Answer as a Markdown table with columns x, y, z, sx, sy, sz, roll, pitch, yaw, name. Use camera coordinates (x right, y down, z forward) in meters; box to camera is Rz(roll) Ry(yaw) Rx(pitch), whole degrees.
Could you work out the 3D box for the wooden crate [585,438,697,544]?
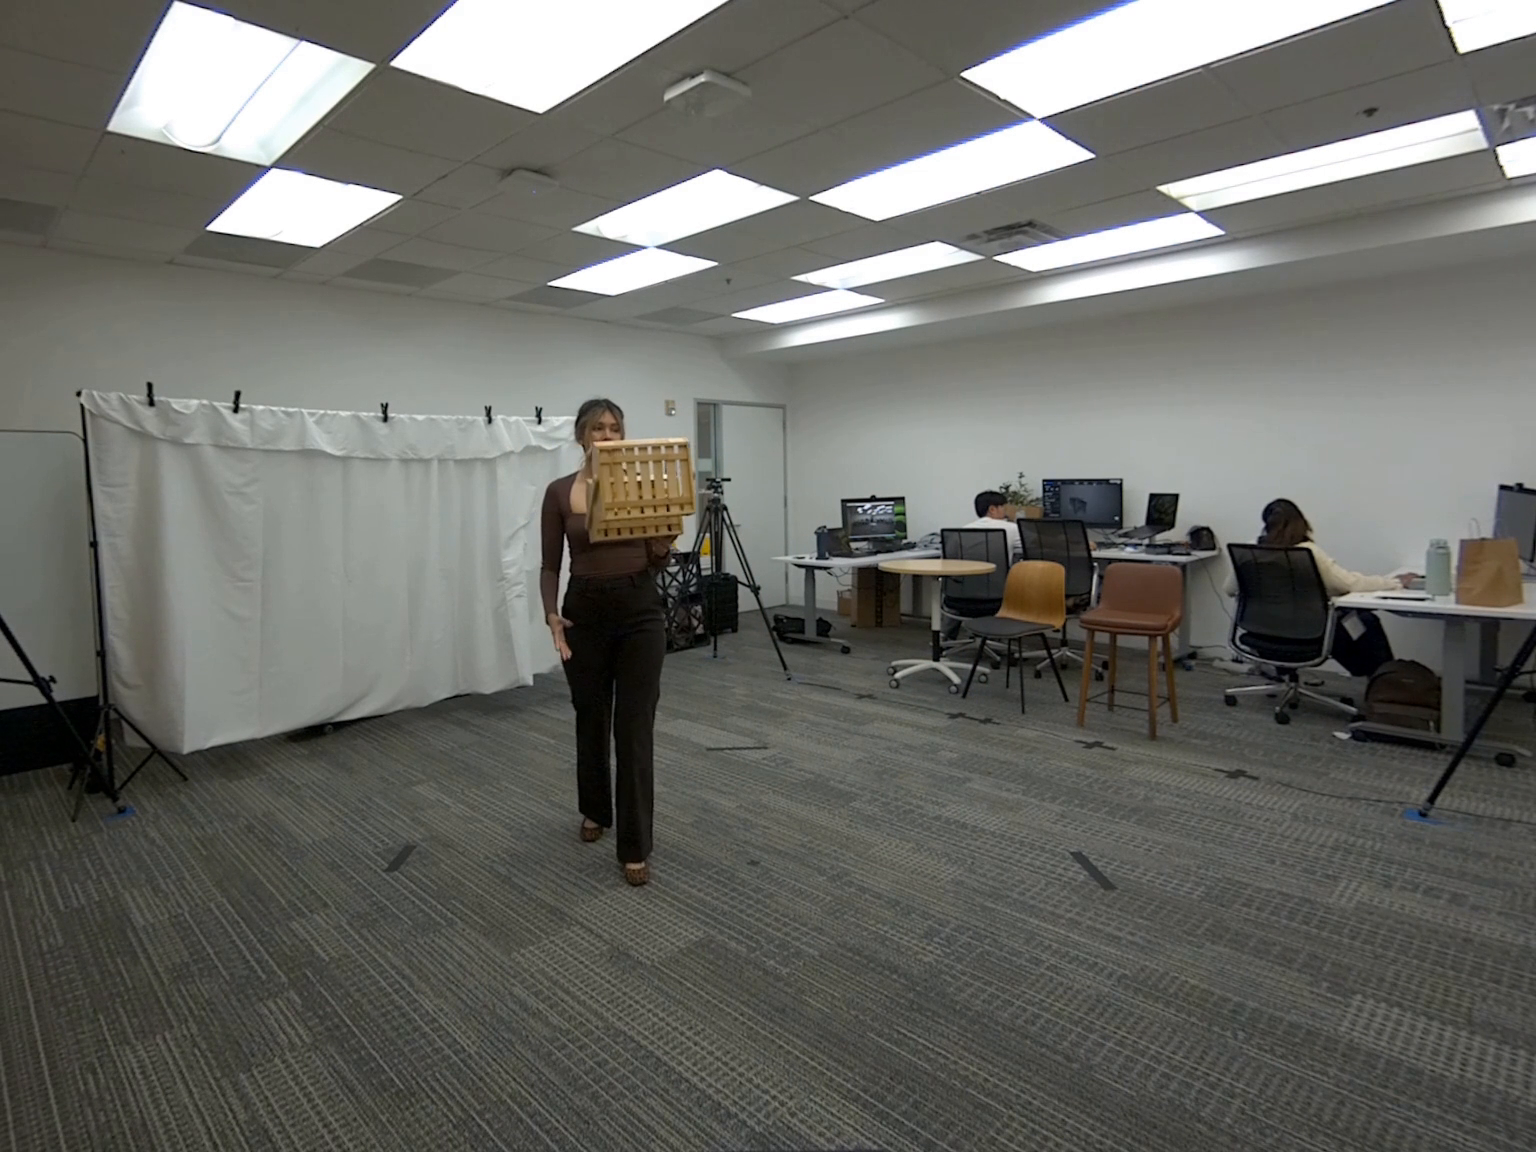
| x | y | z | sx | sy | sz | roll | pitch | yaw | name |
| --- | --- | --- | --- | --- | --- | --- | --- | --- | --- |
| -0.424 | -0.280 | 2.790 | 0.319 | 0.303 | 0.277 | -6 | -1 | -20 | wooden crate |
